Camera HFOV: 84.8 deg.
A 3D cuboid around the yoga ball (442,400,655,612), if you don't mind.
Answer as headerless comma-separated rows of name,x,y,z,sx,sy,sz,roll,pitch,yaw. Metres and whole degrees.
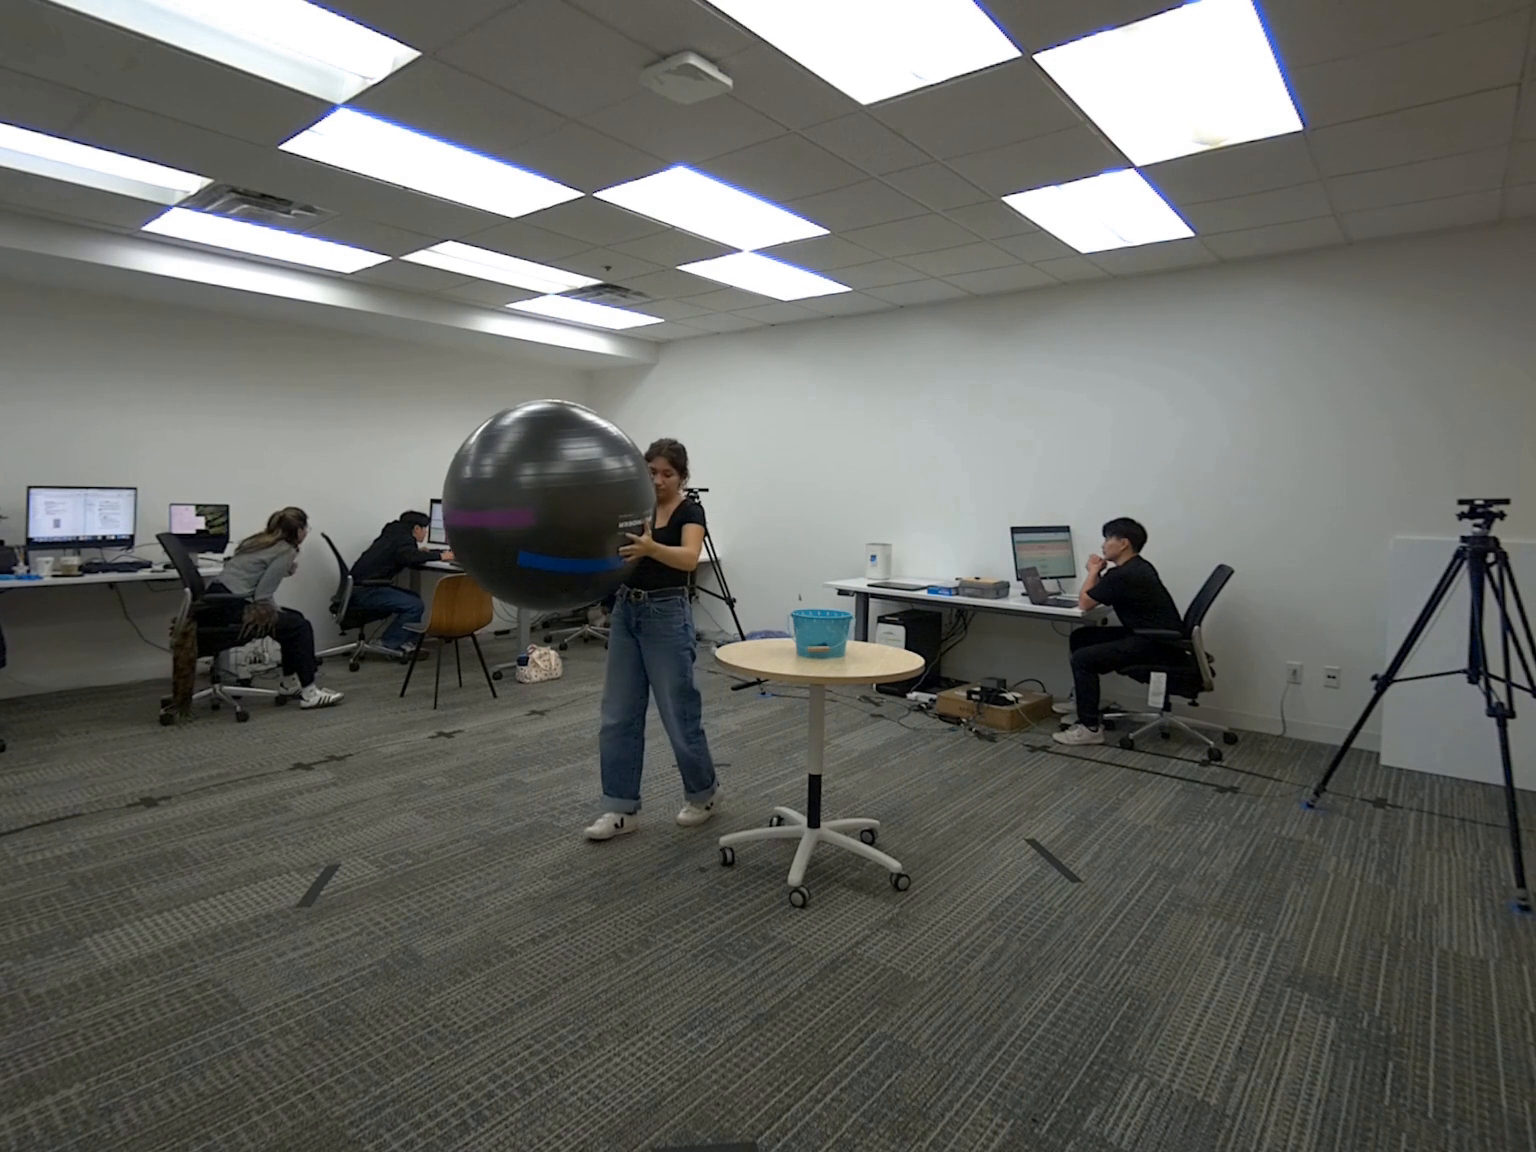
yoga ball,-0.801,-0.252,3.066,0.757,0.755,0.762,1,4,-2
